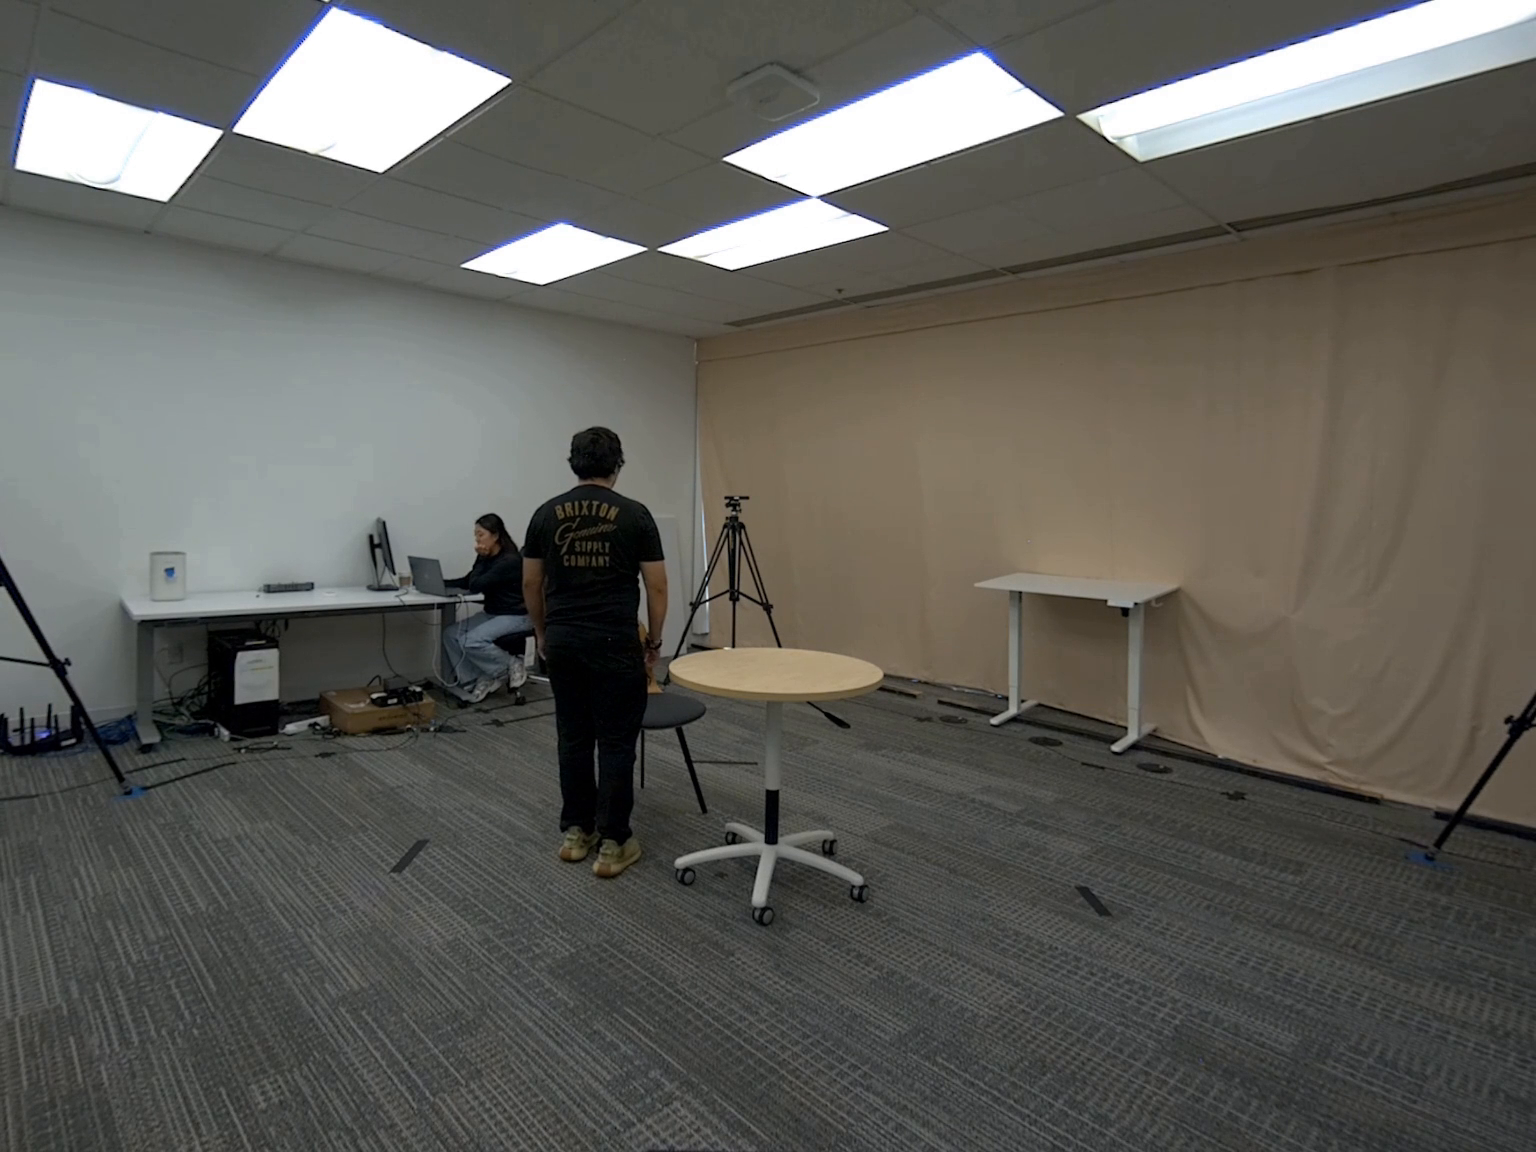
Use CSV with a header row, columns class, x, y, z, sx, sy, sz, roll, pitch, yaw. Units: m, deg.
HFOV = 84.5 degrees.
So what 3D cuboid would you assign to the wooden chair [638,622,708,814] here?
class,x,y,z,sx,sy,sz,roll,pitch,yaw
wooden chair,-0.574,0.614,3.683,0.535,0.878,0.467,-1,0,44
